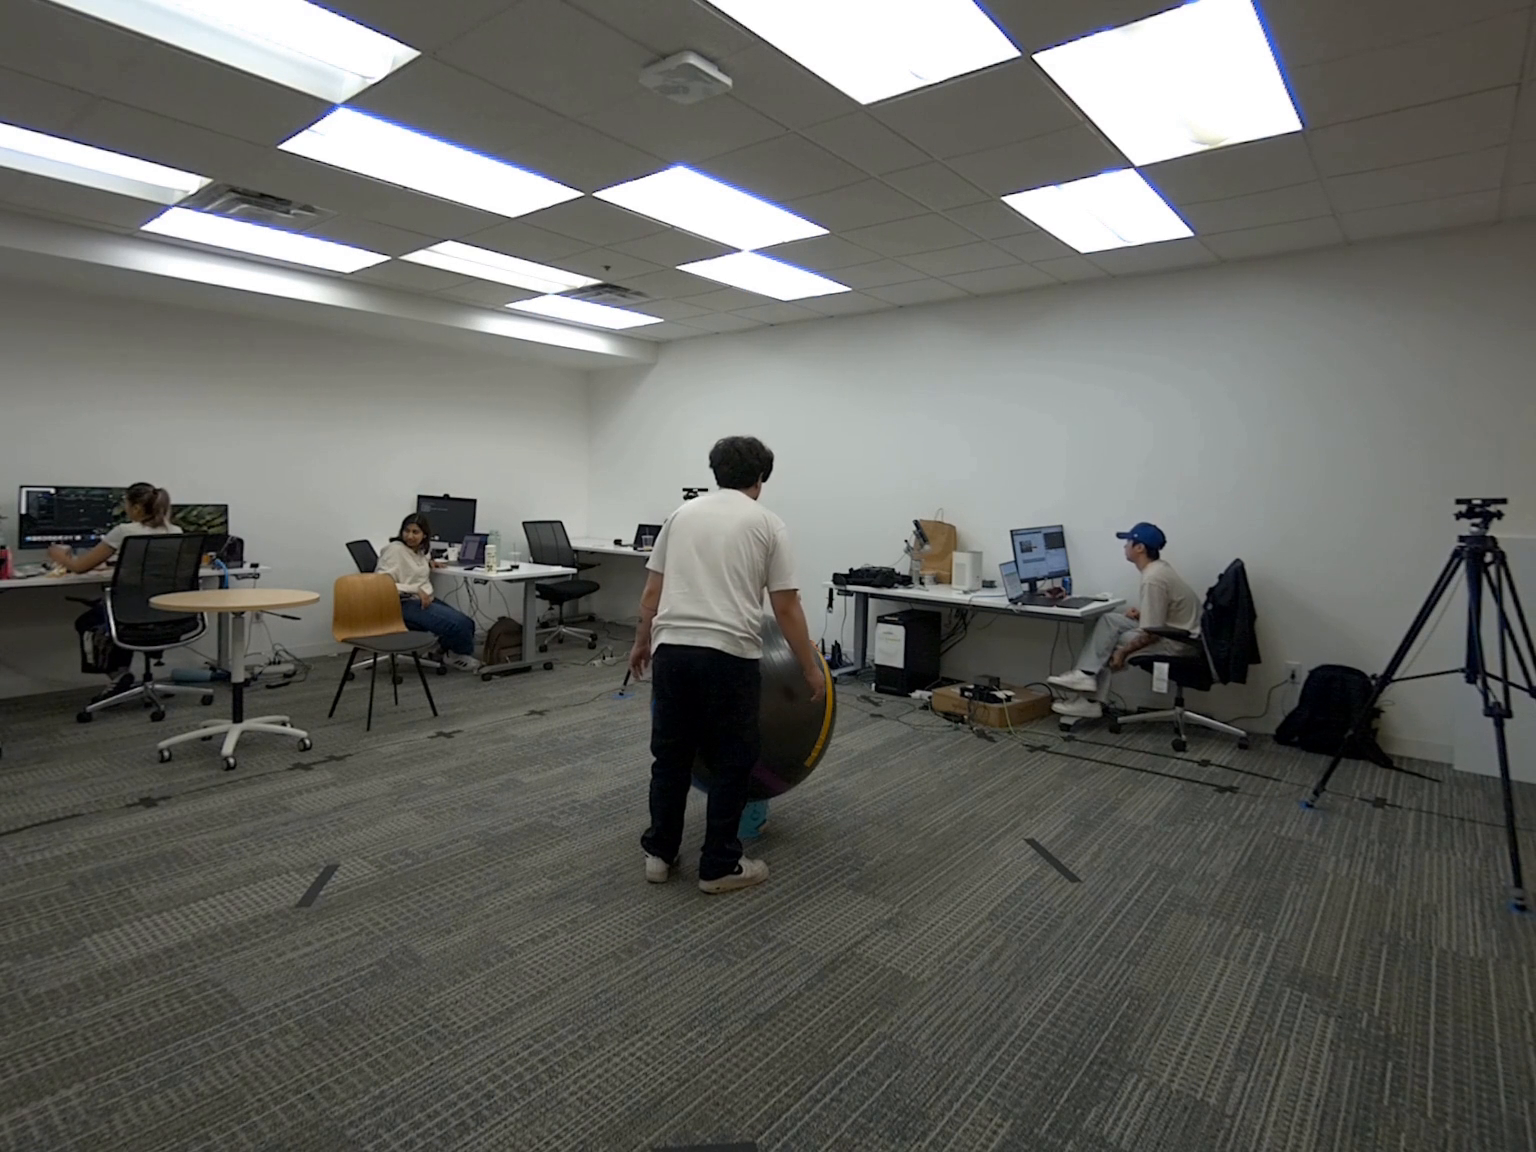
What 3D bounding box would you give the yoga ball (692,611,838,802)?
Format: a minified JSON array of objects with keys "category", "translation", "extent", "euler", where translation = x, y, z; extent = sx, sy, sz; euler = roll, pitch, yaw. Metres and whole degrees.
[{"category":"yoga ball","translation":[-0.105,0.522,3.472],"extent":[0.757,0.755,0.762],"euler":[1,4,-2]}]
